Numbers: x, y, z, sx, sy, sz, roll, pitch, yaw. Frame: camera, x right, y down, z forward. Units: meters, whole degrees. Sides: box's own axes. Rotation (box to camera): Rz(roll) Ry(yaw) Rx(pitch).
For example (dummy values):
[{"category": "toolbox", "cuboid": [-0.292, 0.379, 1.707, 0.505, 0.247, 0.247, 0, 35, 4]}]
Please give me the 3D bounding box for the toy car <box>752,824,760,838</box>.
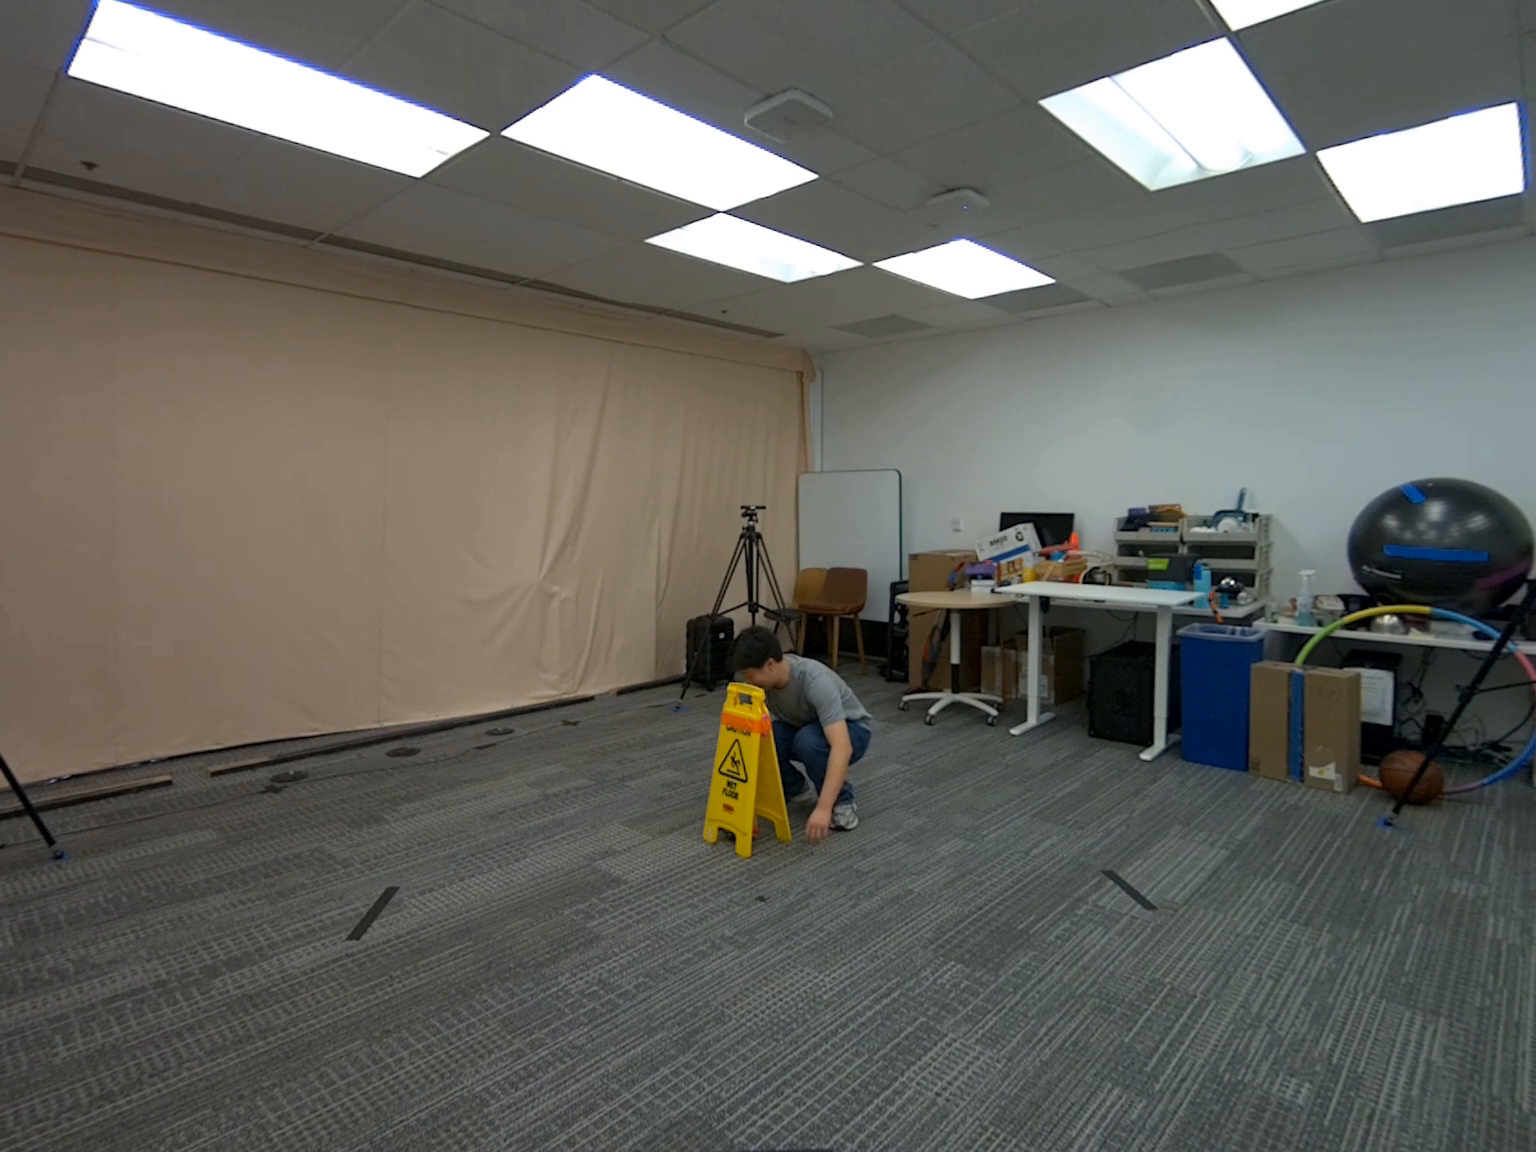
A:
[{"category": "toy car", "cuboid": [-0.123, 1.092, 3.545, 0.127, 0.083, 0.259, 0, -3, -21]}]
